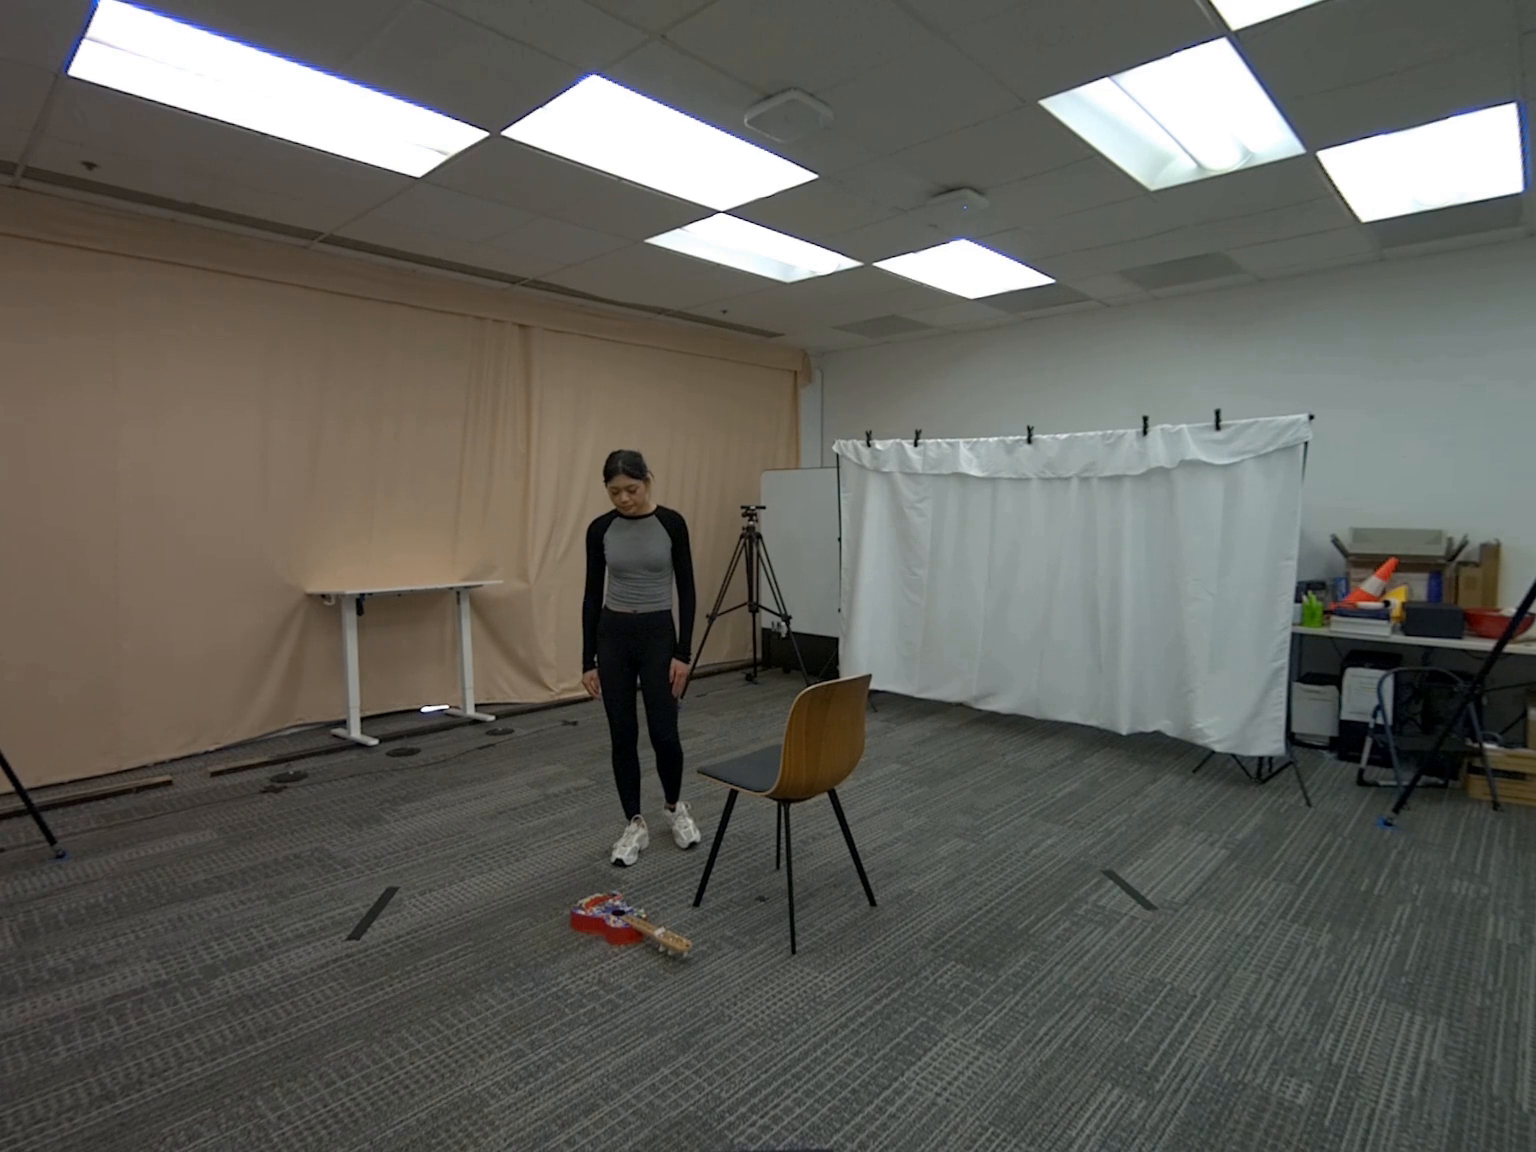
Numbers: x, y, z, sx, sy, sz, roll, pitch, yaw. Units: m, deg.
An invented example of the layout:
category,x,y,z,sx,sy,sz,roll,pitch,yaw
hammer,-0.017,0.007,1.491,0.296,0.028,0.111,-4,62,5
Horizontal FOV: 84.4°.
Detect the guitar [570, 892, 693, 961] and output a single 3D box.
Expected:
category,x,y,z,sx,sy,sz,roll,pitch,yaw
guitar,-0.452,1.134,2.697,0.187,0.070,0.514,-4,5,-40
